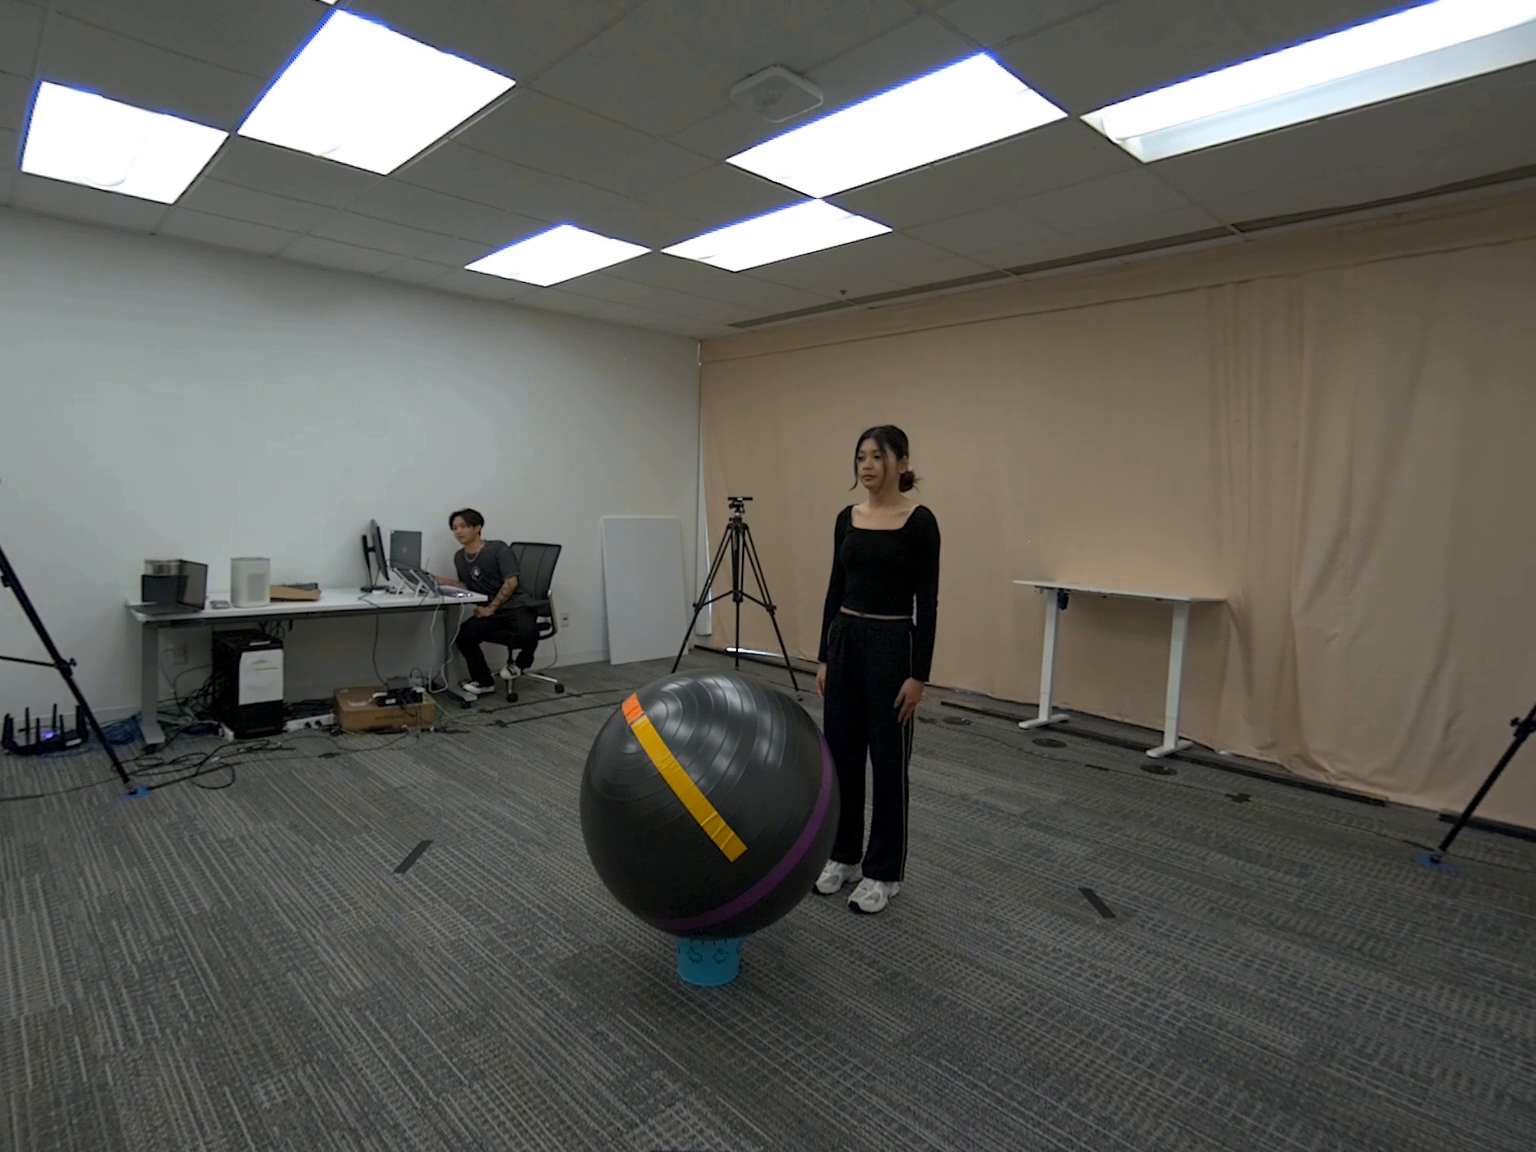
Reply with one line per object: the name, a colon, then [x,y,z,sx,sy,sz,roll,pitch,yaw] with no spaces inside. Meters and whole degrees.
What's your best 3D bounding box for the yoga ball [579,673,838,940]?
yoga ball: [-0.172,0.655,2.461,0.757,0.756,0.761,1,4,-1]
